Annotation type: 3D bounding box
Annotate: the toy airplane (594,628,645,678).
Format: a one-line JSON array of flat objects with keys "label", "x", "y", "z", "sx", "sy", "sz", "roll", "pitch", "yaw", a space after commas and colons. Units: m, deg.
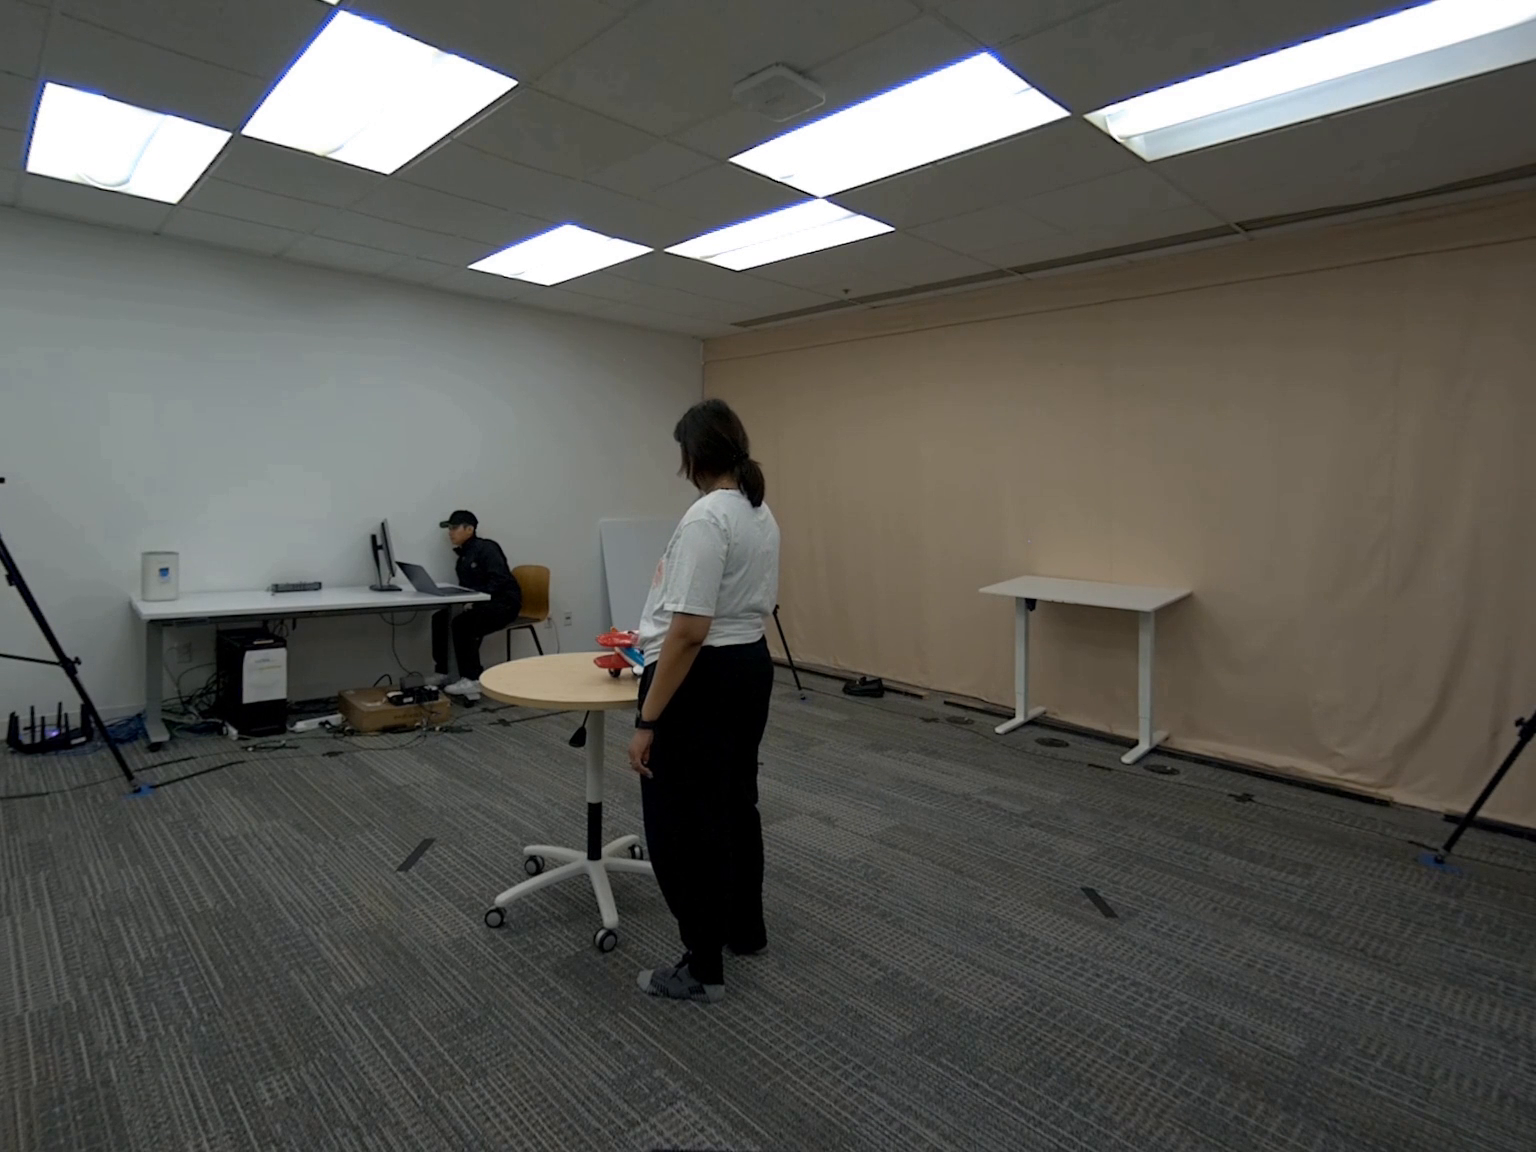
[{"label": "toy airplane", "x": -0.426, "y": 0.270, "z": 2.784, "sx": 0.265, "sy": 0.156, "sz": 0.246, "roll": 4, "pitch": 5, "yaw": 29}]
